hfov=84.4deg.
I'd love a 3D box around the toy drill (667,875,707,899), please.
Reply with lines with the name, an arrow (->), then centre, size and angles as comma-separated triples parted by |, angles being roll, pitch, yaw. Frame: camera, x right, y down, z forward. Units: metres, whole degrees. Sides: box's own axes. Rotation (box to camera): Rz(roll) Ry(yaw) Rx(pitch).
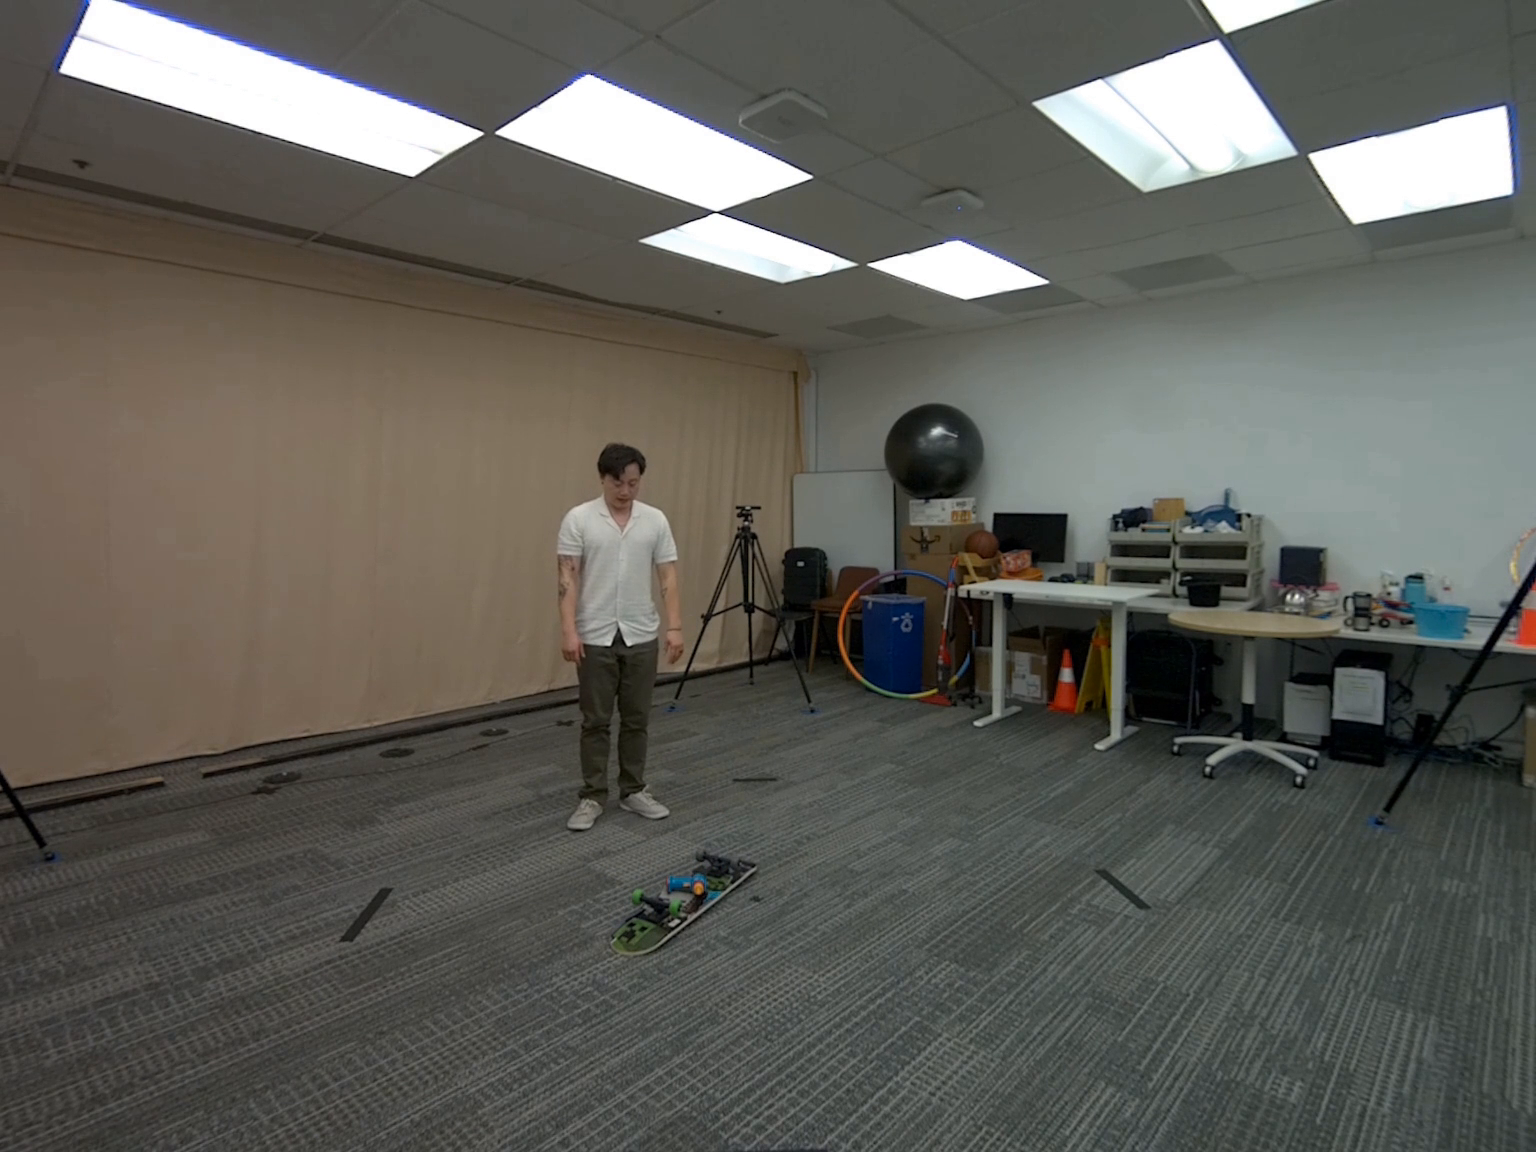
toy drill -> -0.285, 1.087, 2.949 | 0.146, 0.061, 0.169 | -1, -3, 0
